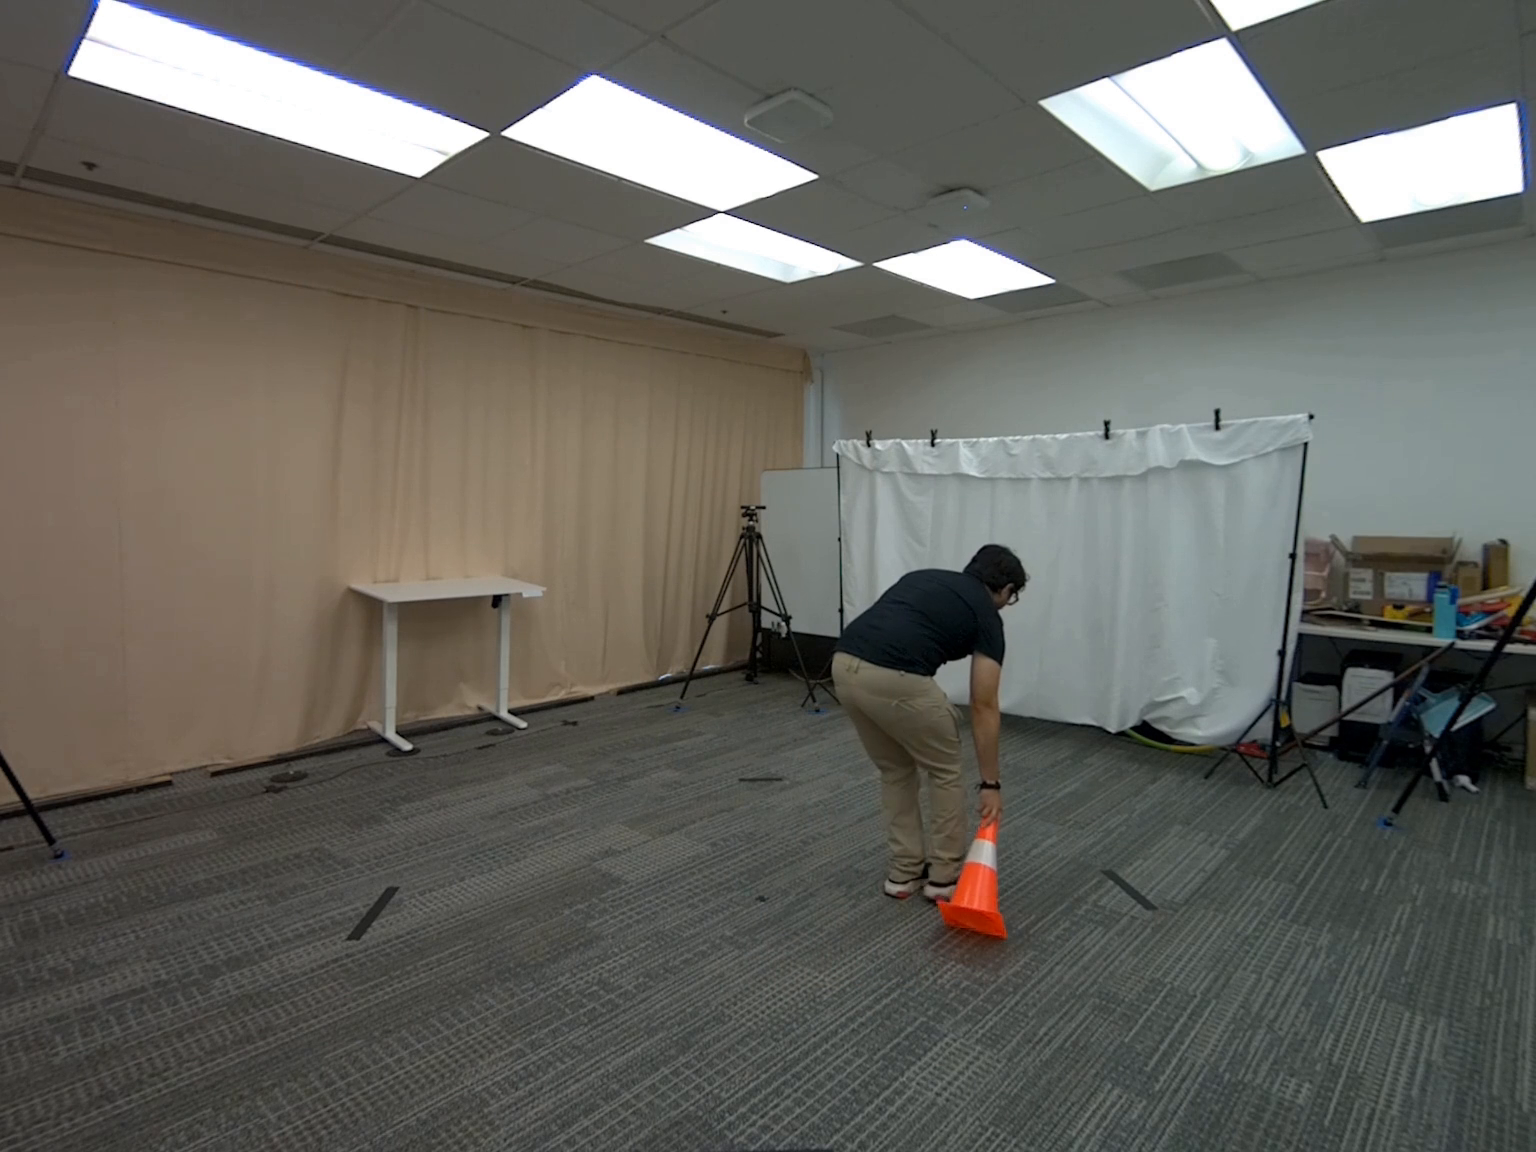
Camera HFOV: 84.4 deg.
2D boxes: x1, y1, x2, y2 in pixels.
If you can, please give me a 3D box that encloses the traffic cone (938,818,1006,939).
[{"bbox_3d":[0.717,0.952,2.793,0.209,0.386,0.198,-2,-41,28],"label":"traffic cone"}]
